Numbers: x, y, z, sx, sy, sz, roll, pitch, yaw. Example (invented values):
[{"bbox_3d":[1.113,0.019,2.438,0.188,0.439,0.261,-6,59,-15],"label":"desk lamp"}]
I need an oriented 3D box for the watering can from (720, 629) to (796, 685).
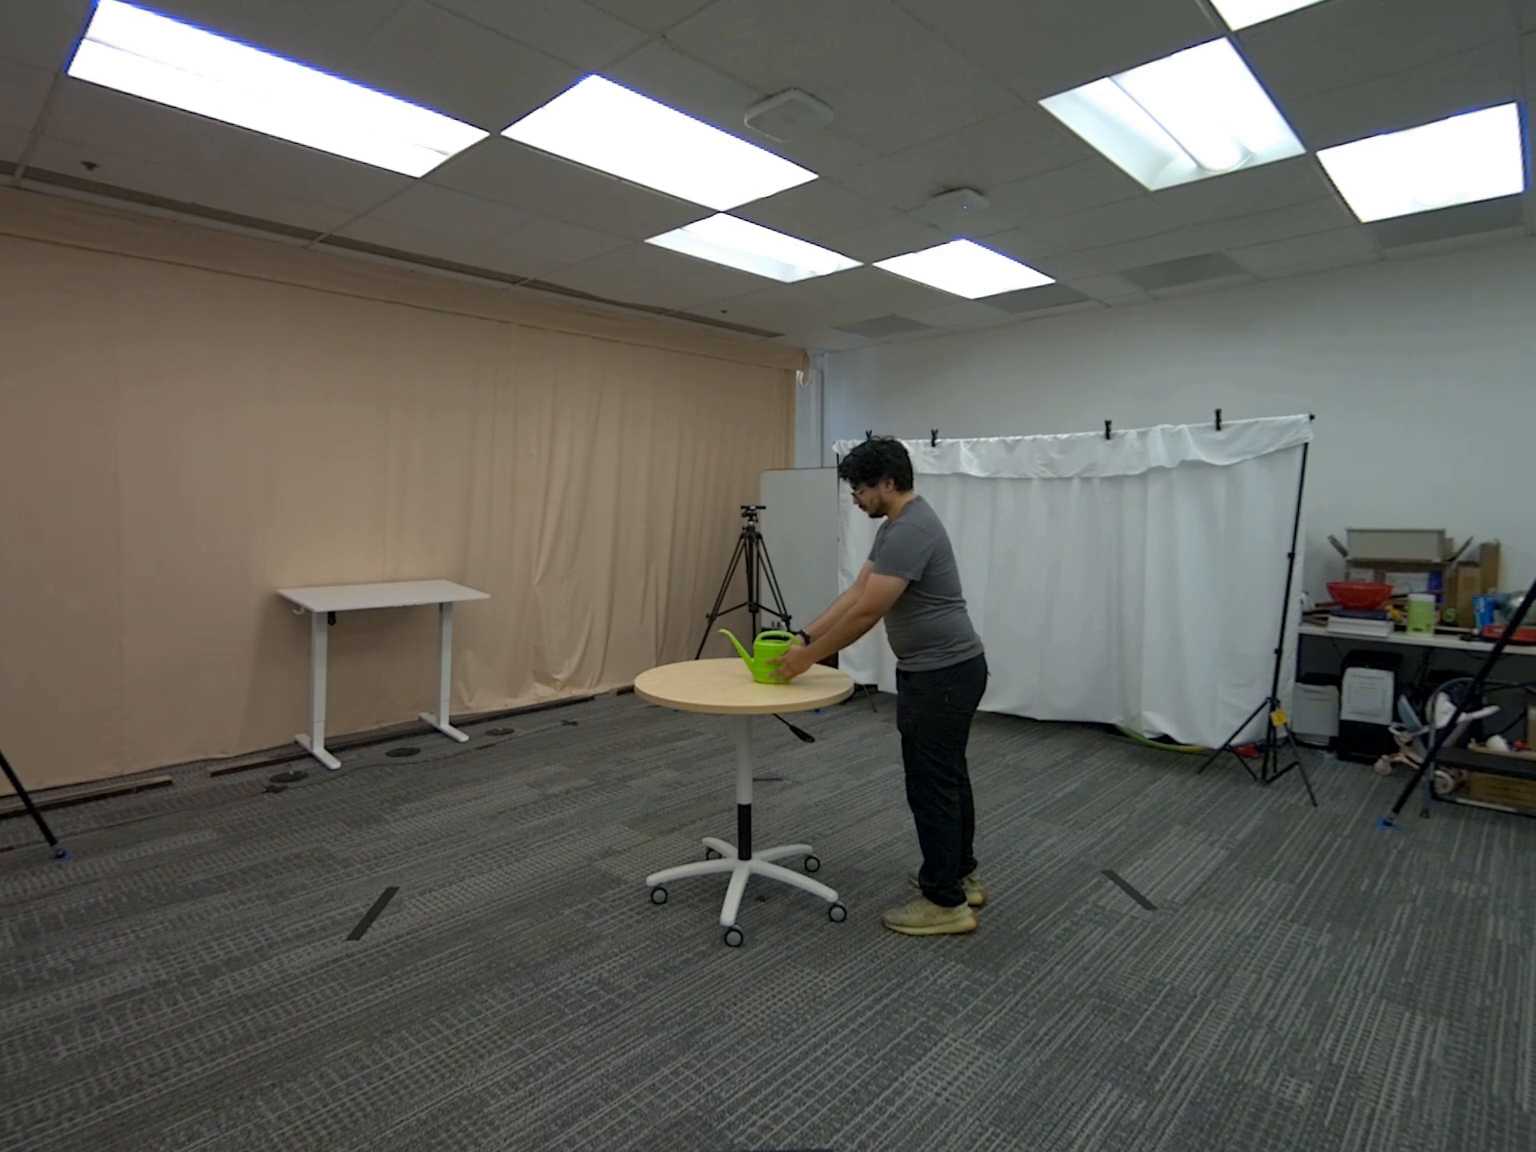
[{"bbox_3d":[-0.020,0.278,2.935,0.284,0.176,0.096,3,4,18],"label":"watering can"}]
